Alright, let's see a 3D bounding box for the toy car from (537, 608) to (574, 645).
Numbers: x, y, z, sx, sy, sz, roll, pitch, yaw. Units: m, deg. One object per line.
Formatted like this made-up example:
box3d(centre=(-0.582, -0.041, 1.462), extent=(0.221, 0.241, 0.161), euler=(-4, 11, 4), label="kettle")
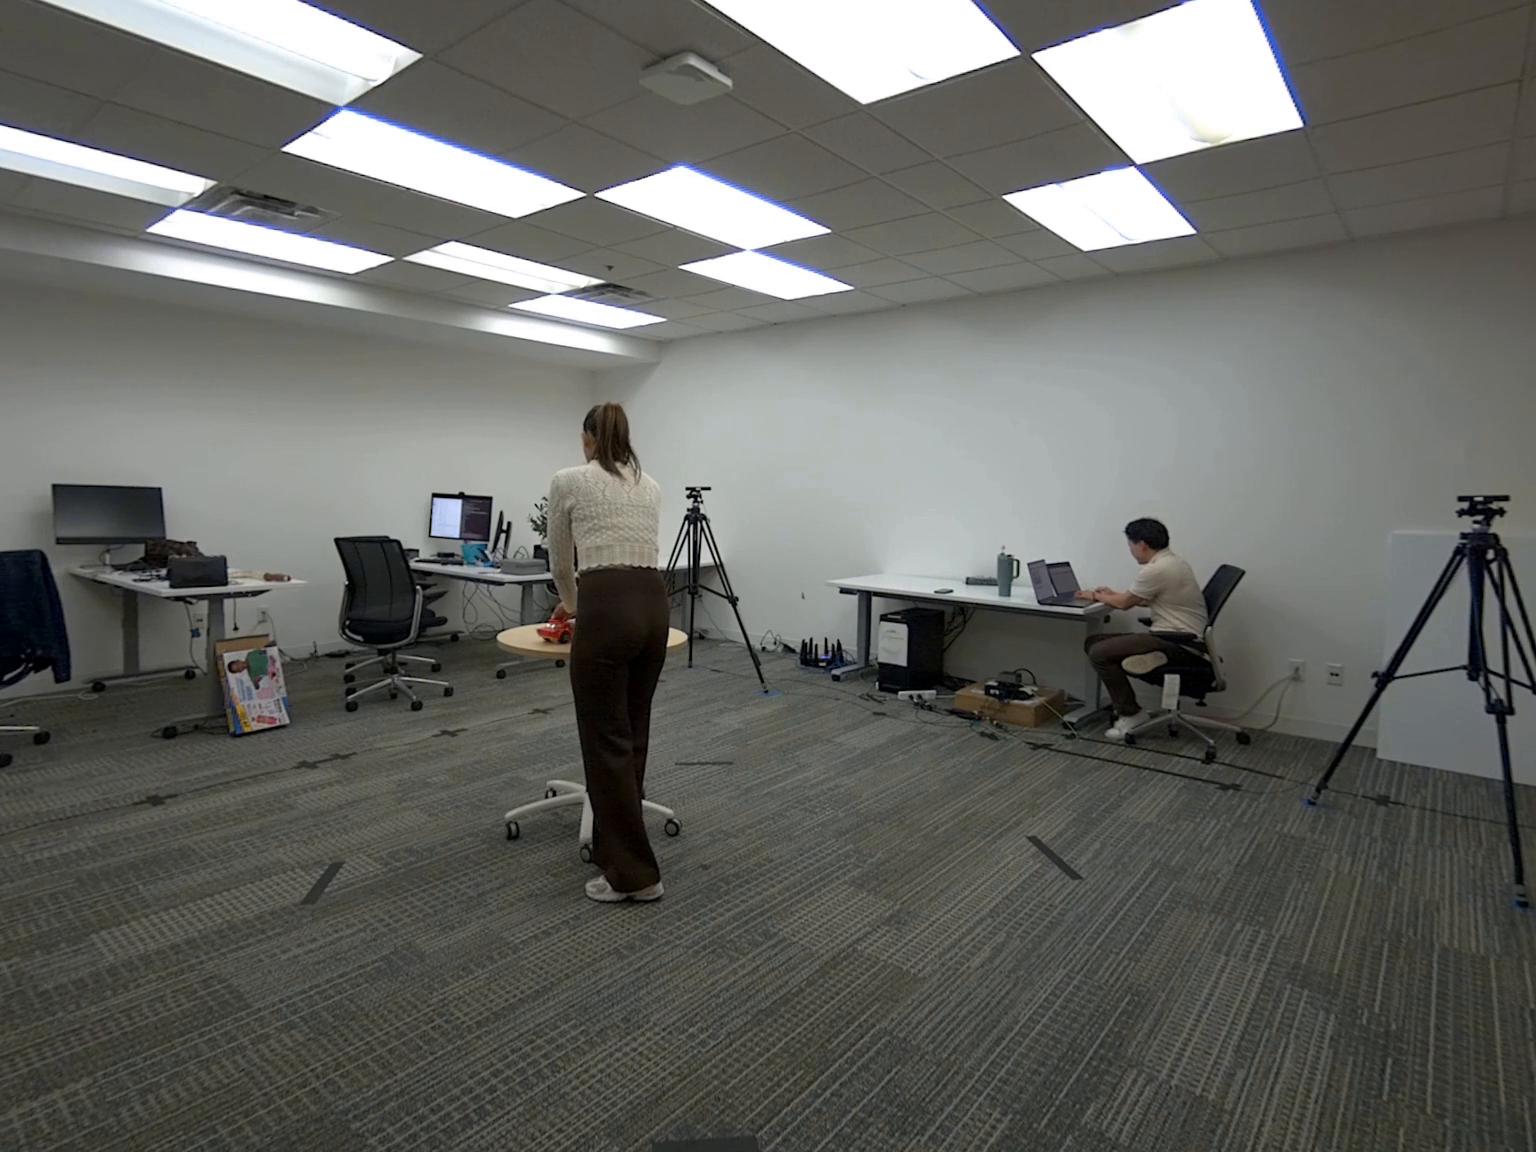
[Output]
box3d(centre=(-0.811, 0.220, 3.334), extent=(0.134, 0.083, 0.245), euler=(4, -6, 35), label="toy car")
